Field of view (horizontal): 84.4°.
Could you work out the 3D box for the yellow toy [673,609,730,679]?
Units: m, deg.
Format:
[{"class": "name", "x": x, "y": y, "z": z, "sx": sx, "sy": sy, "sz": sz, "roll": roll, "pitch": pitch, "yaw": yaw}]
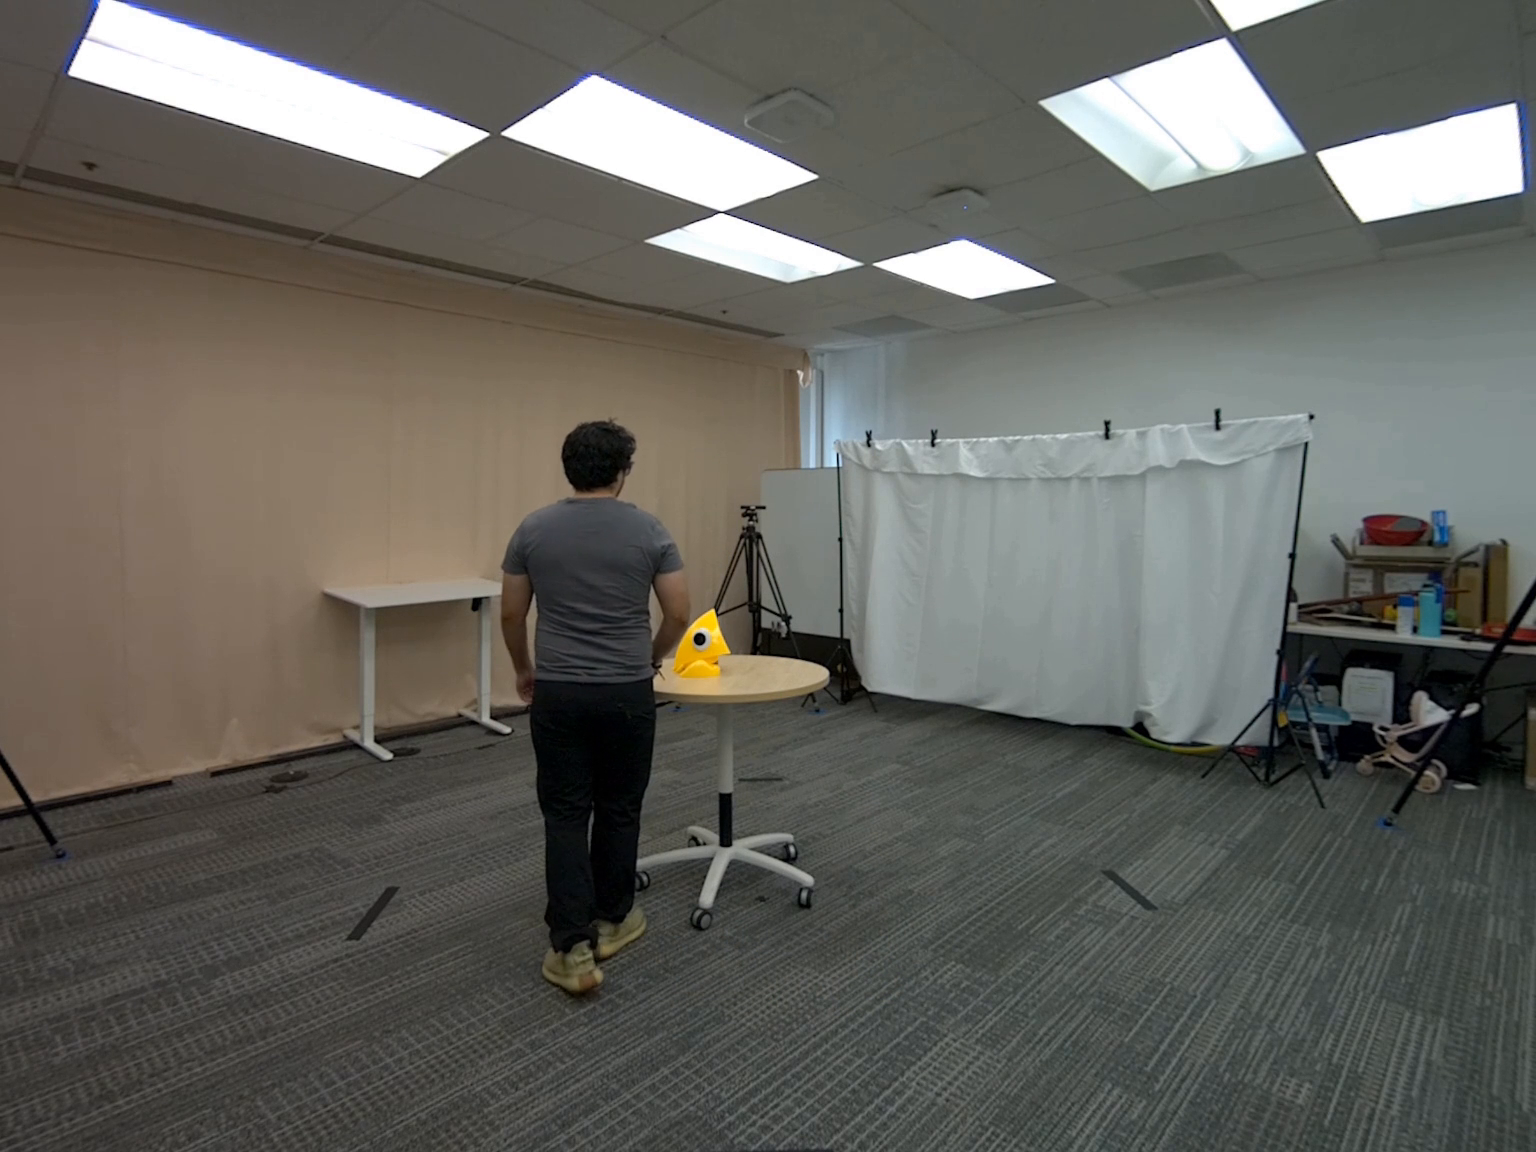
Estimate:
[{"class": "yellow toy", "x": -0.249, "y": 0.238, "z": 3.095, "sx": 0.189, "sy": 0.230, "sz": 0.209, "roll": -1, "pitch": 3, "yaw": -19}]
